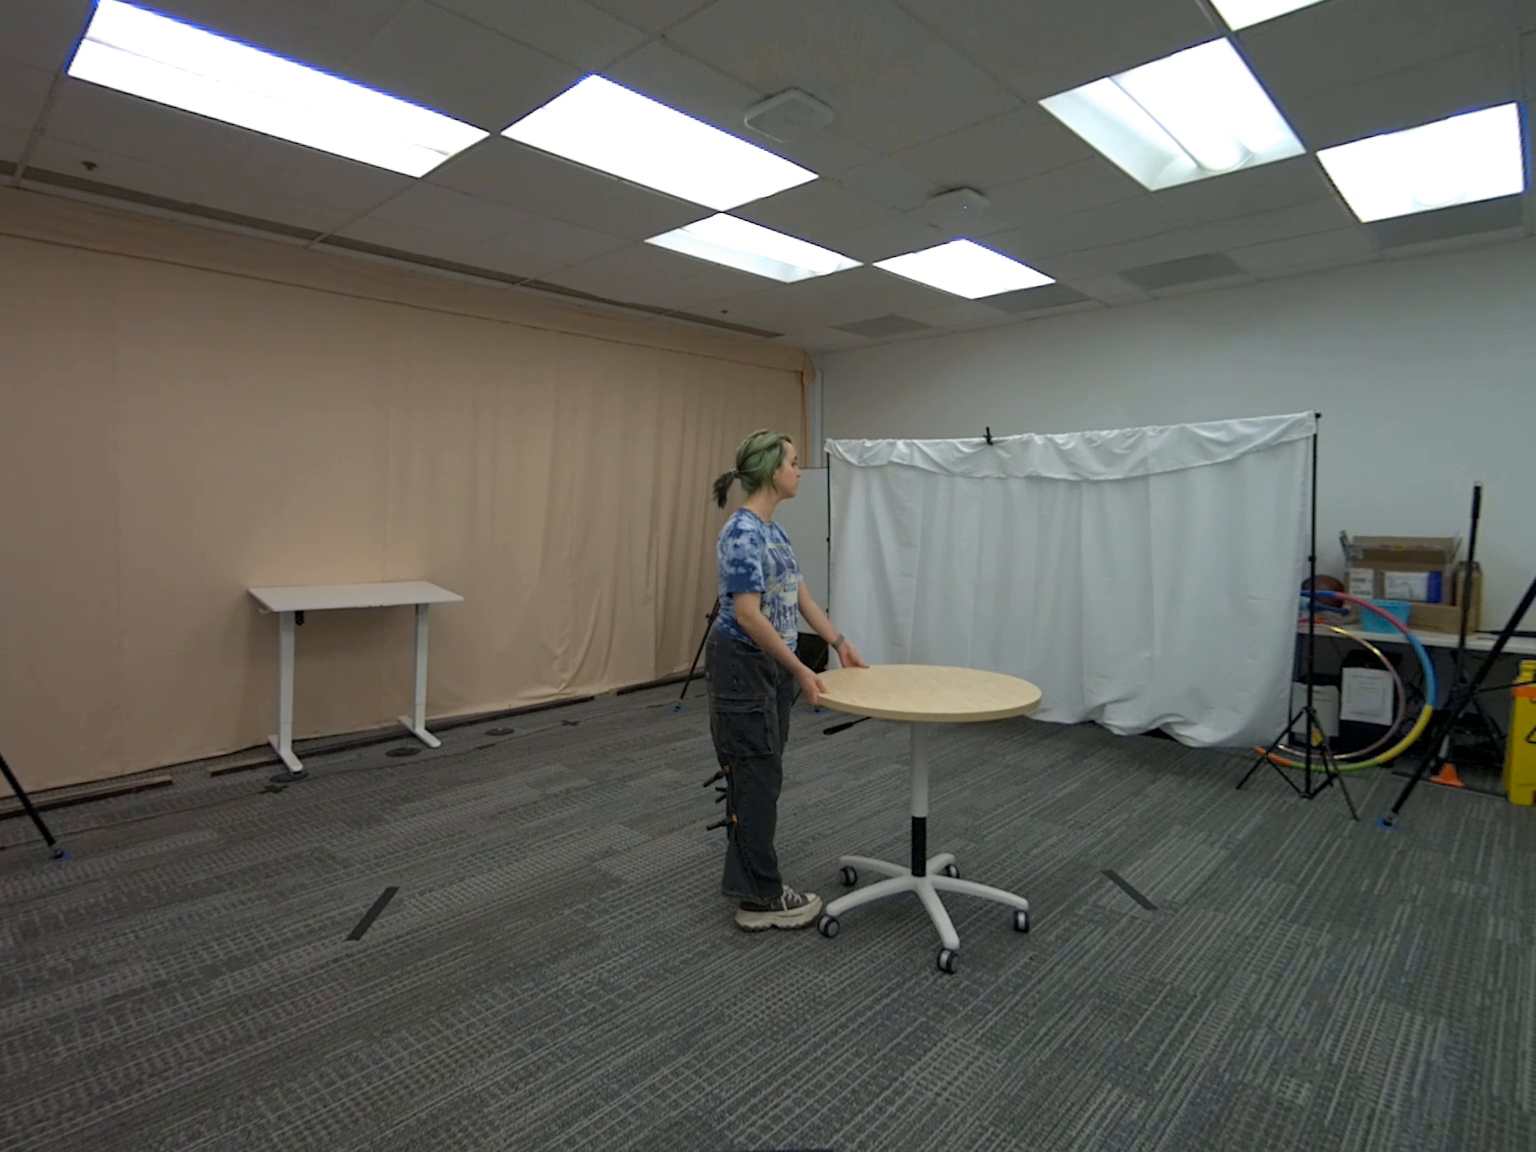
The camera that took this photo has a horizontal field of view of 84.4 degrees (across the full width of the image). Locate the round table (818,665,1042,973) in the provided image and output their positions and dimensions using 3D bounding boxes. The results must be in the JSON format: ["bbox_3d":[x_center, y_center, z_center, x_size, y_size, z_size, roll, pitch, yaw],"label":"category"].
[{"bbox_3d":[0.509,0.765,2.839,0.763,0.792,0.766,-1,3,-2],"label":"round table"}]
